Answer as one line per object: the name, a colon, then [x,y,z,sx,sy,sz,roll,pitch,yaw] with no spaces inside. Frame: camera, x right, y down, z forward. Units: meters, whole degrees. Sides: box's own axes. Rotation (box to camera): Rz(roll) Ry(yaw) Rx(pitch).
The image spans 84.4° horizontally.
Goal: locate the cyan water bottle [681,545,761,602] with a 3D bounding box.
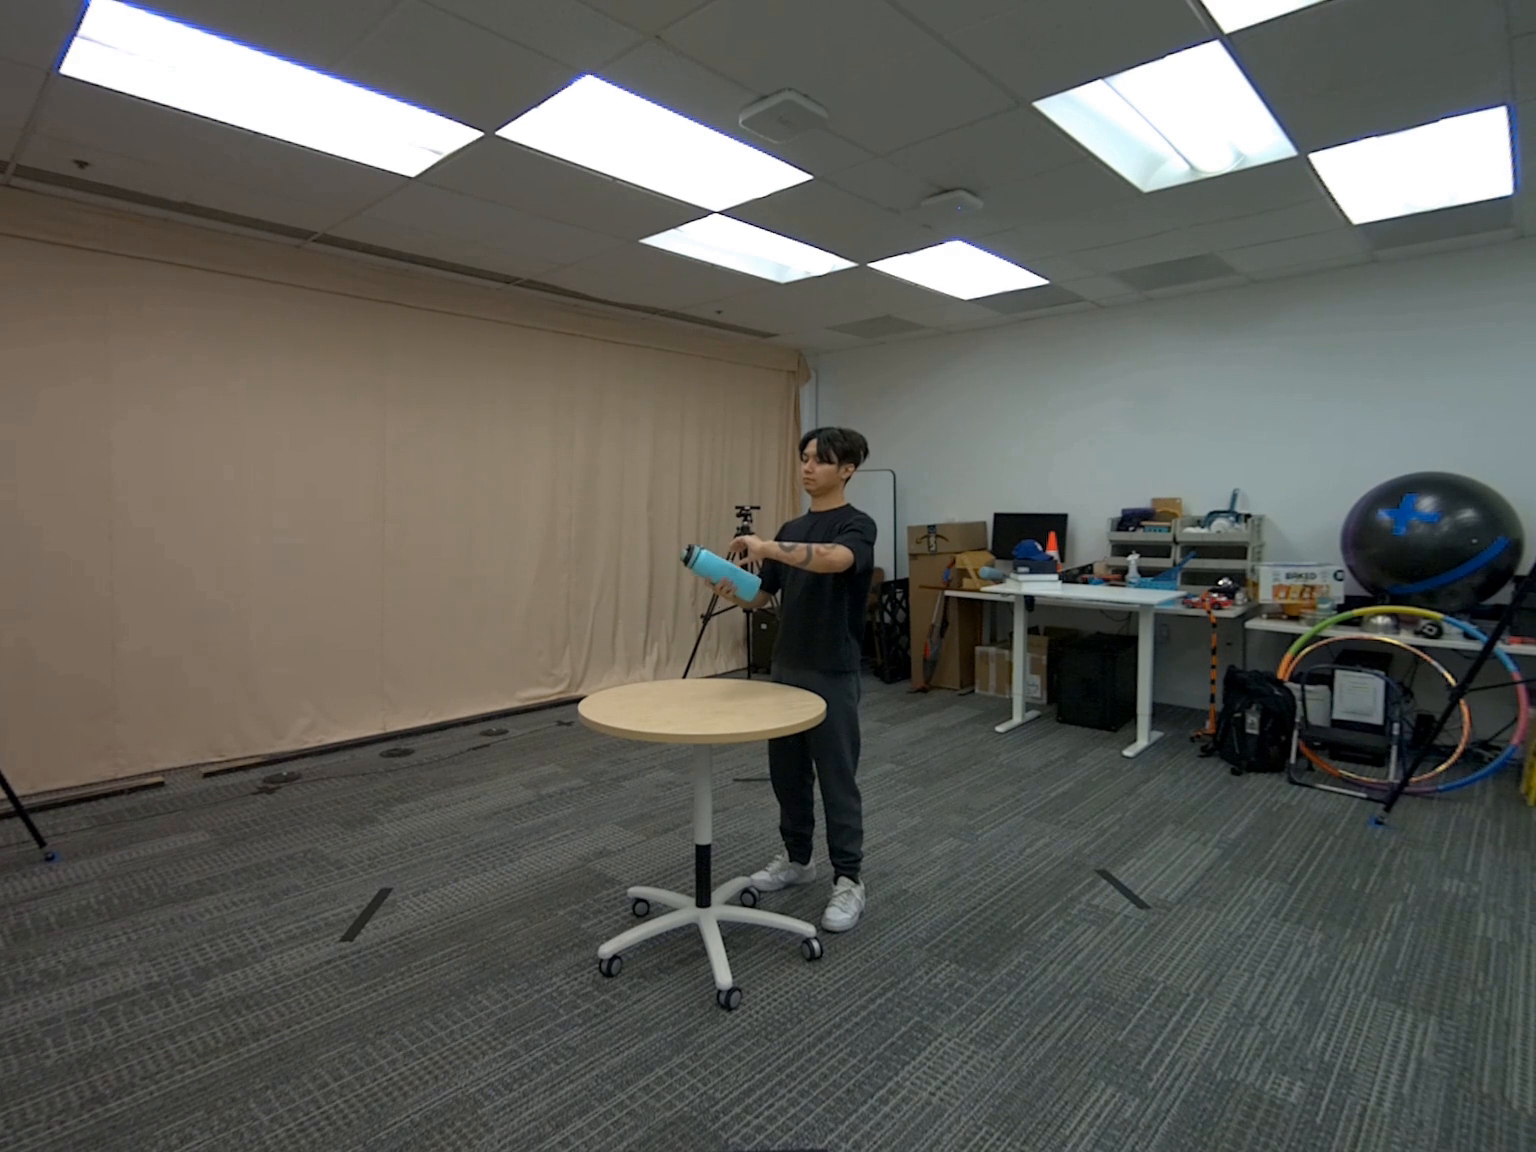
cyan water bottle: [-0.168,-0.014,2.848,0.282,0.092,0.093,27,1,-4]
